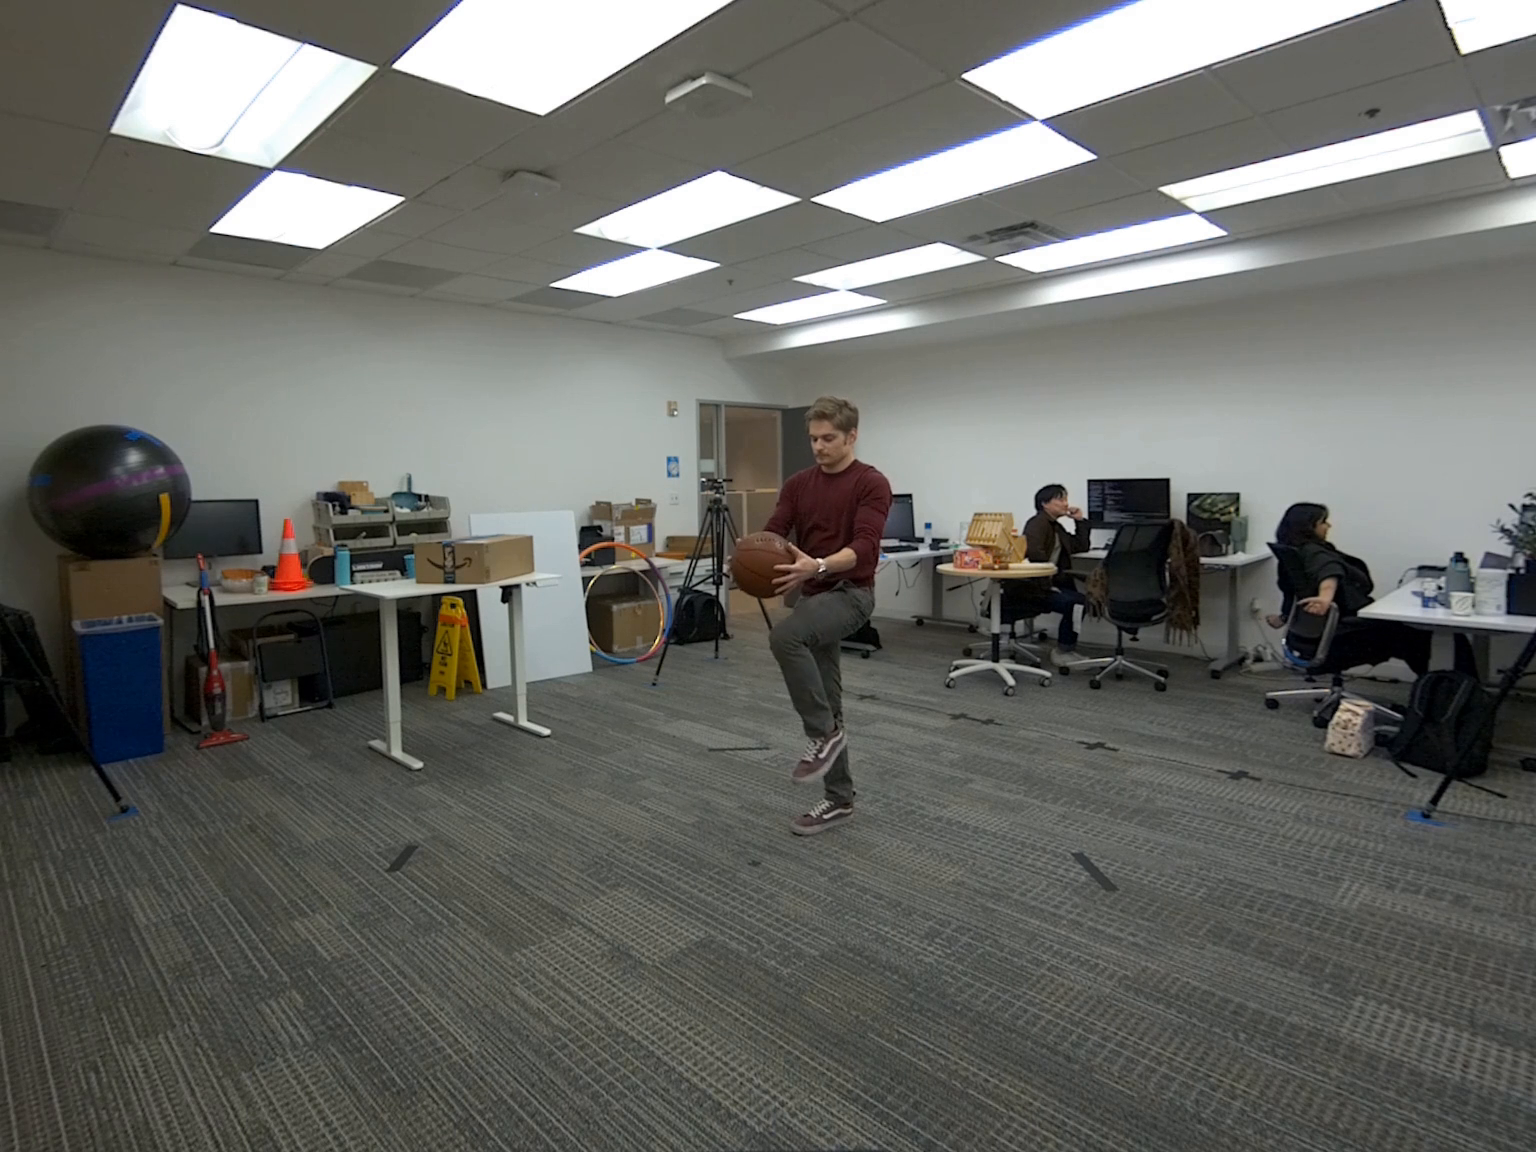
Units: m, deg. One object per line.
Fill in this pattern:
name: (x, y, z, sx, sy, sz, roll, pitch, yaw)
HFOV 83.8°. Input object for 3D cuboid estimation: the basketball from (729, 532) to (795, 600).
basketball: (-0.012, -0.051, 3.049, 0.236, 0.235, 0.237, -1, 5, -2)
